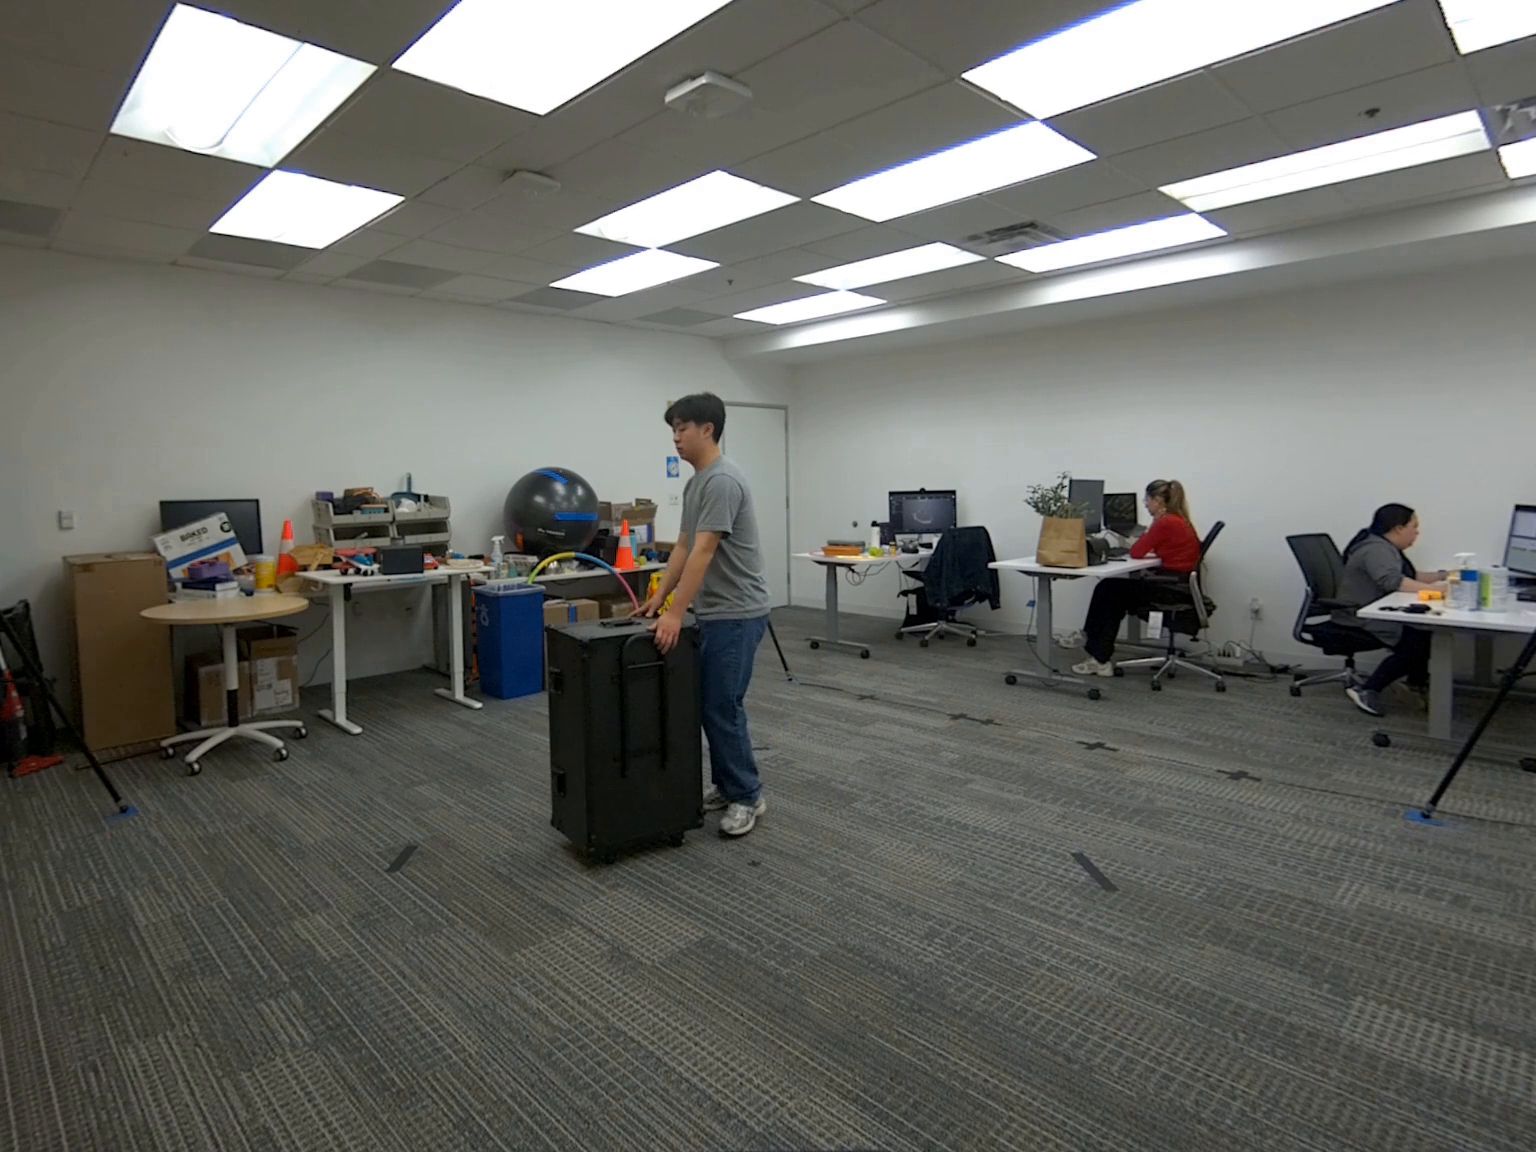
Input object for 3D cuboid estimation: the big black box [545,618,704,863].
[{"bbox_3d":[-0.538,0.613,3.260,0.508,0.858,0.408,-4,5,-33],"label":"big black box"}]
